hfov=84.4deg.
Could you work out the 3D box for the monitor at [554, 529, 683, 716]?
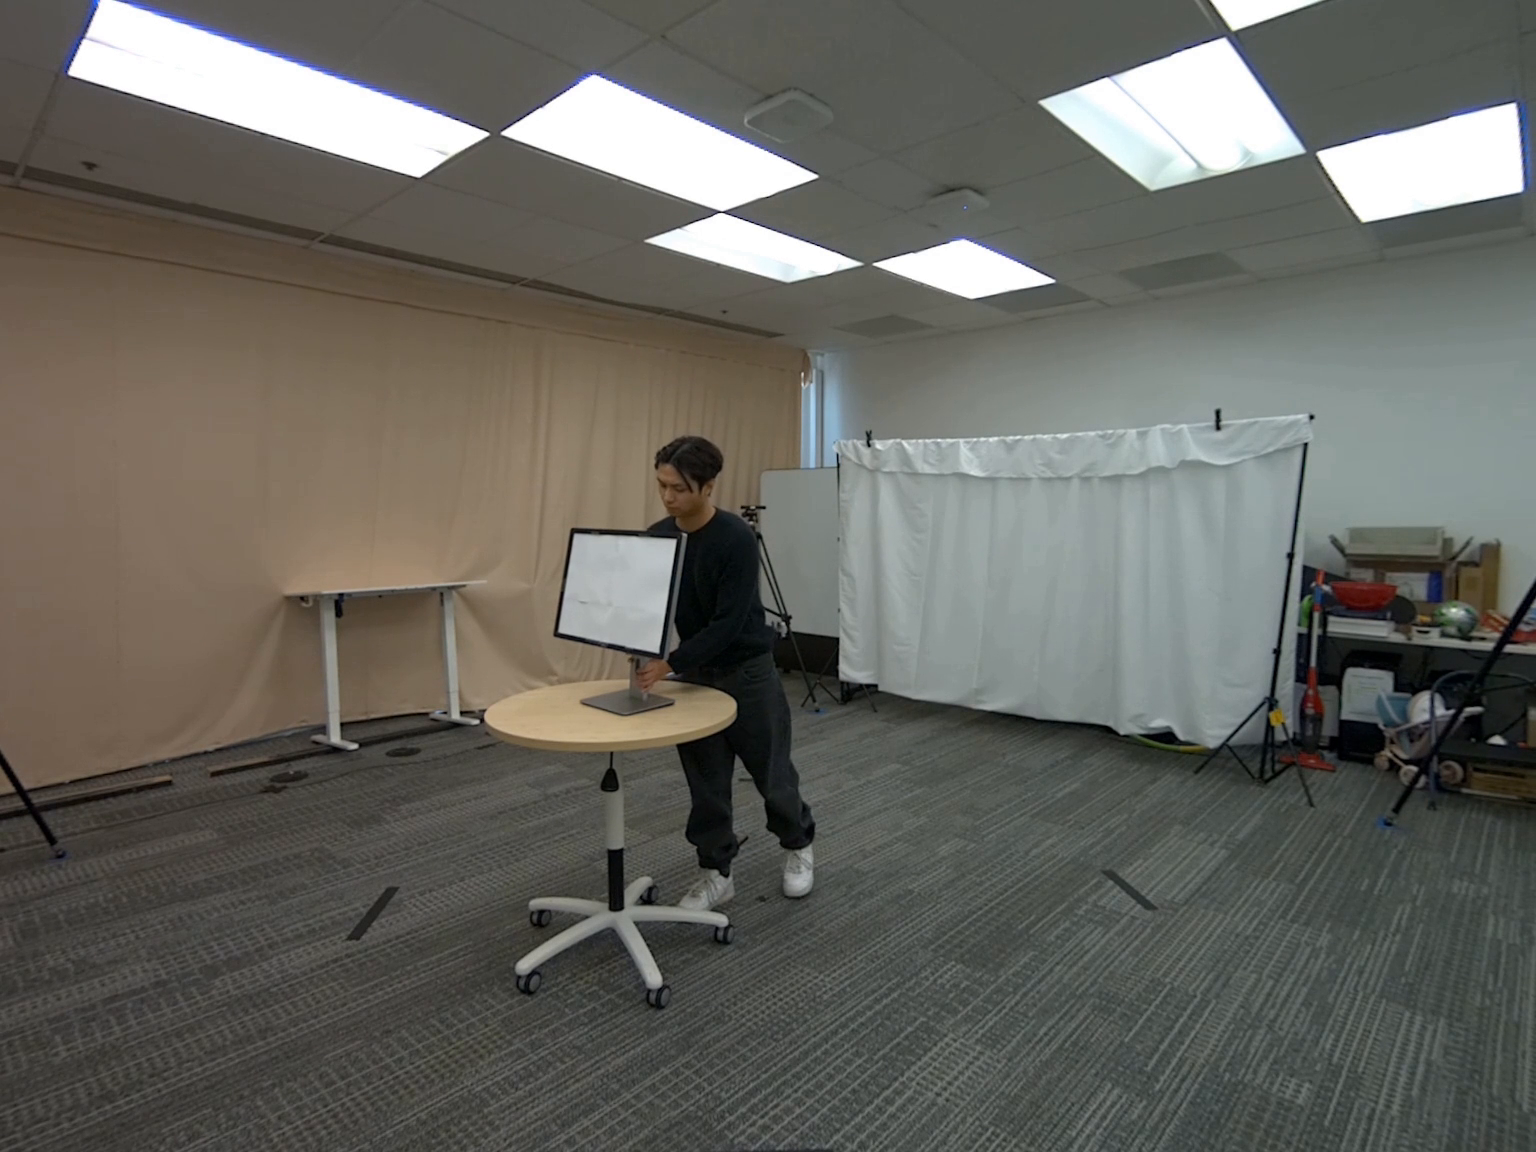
[{"bbox_3d":[-0.444,0.130,2.606,0.548,0.513,0.170,7,12,44],"label":"monitor"}]
